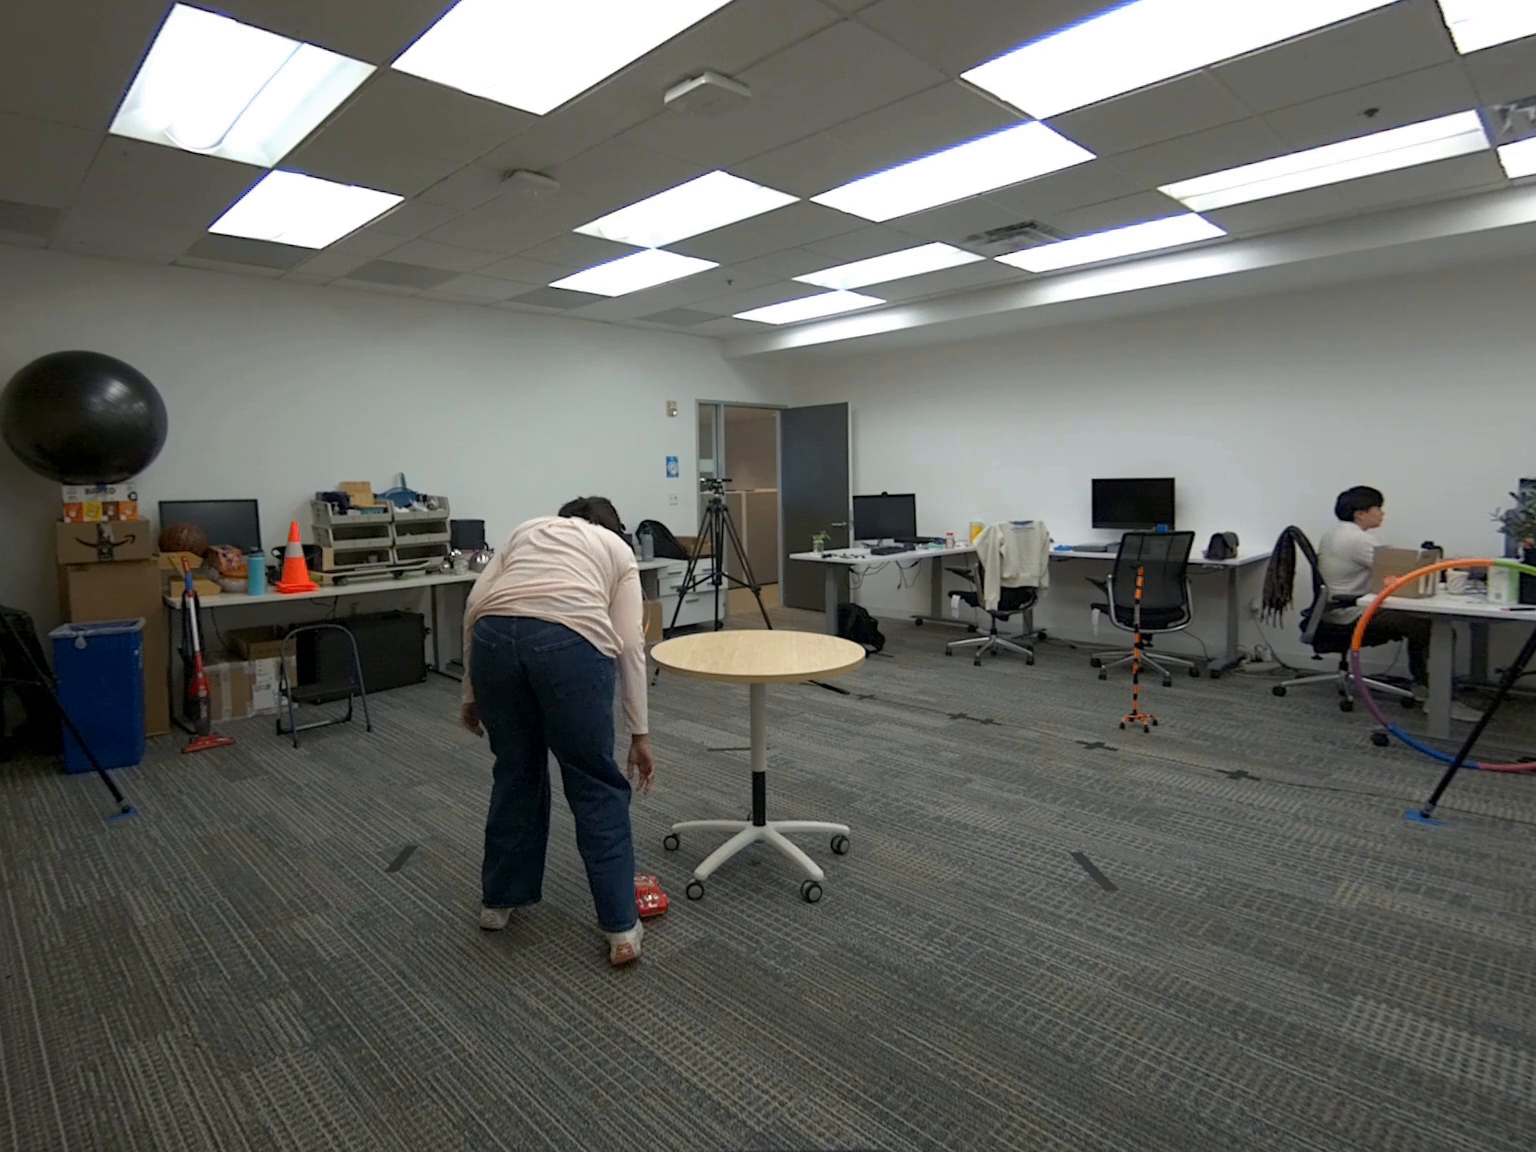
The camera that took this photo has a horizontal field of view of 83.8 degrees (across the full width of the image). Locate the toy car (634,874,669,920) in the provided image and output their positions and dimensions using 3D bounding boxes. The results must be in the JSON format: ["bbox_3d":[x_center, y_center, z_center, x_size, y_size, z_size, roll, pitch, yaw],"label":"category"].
[{"bbox_3d":[-0.393,1.053,2.806,0.128,0.083,0.257,-4,-3,-19],"label":"toy car"}]
